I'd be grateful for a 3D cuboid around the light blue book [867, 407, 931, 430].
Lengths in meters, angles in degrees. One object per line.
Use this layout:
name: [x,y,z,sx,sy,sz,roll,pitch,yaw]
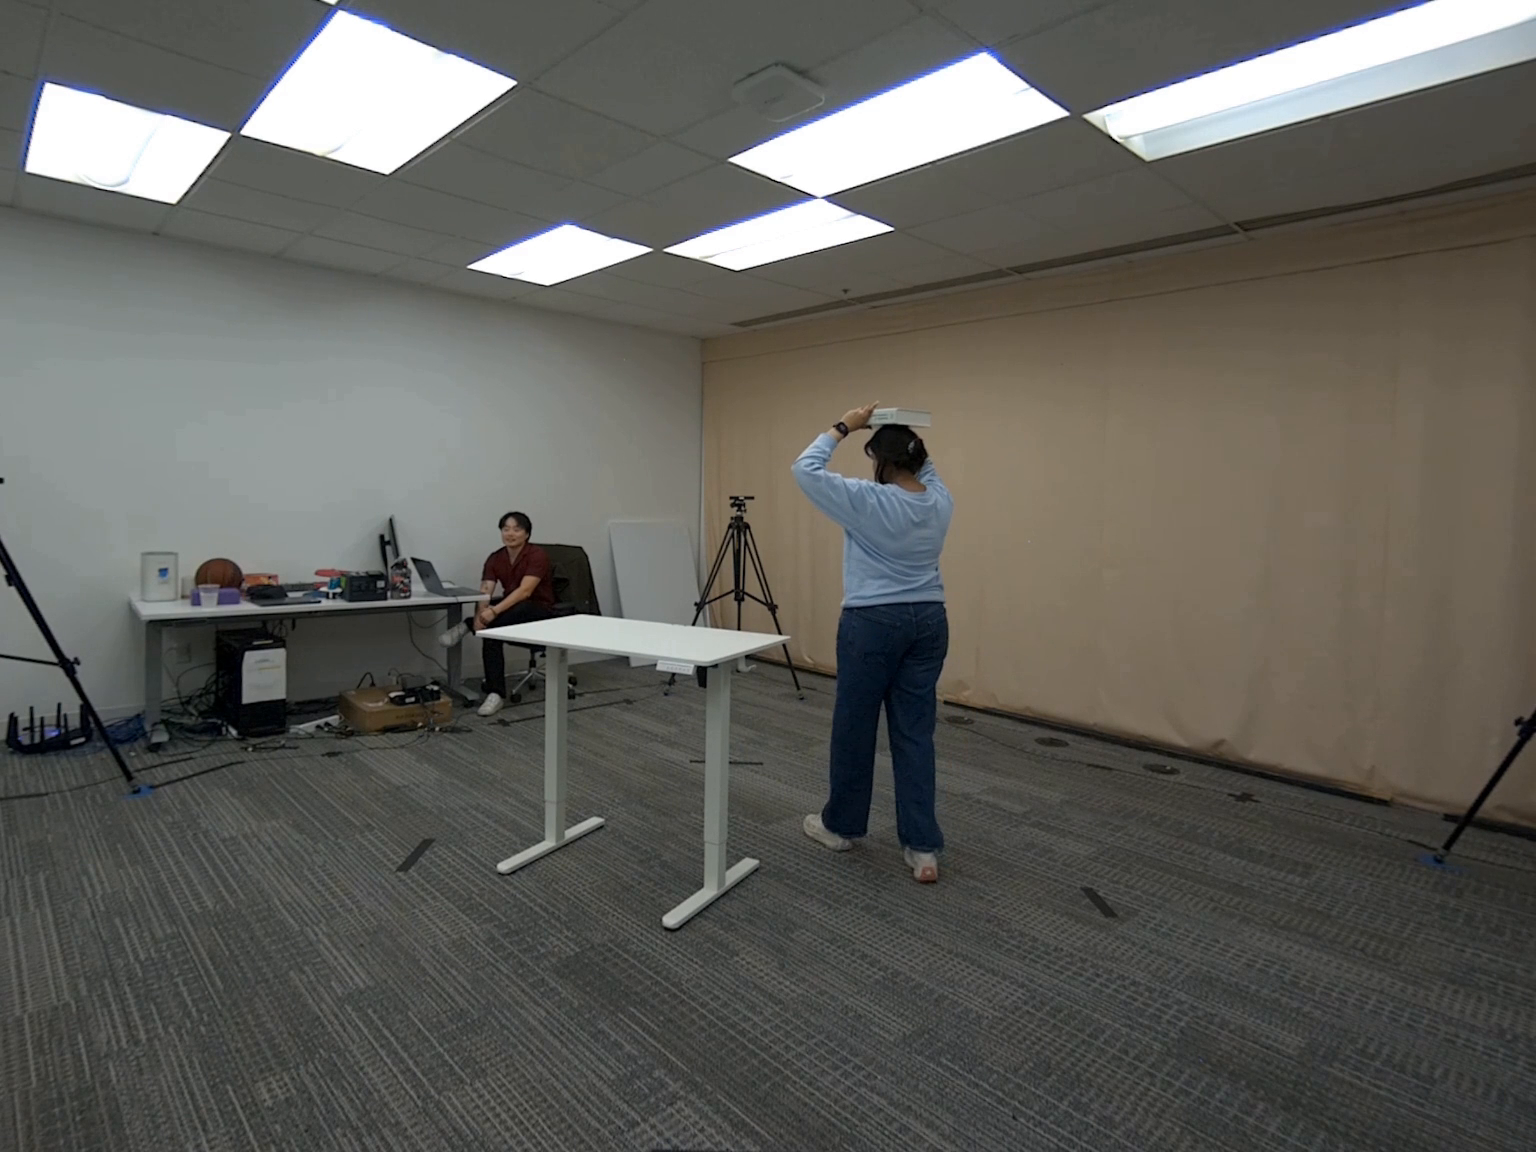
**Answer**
light blue book: [0.472,-0.608,3.248,0.187,0.059,0.267,0,6,-31]
